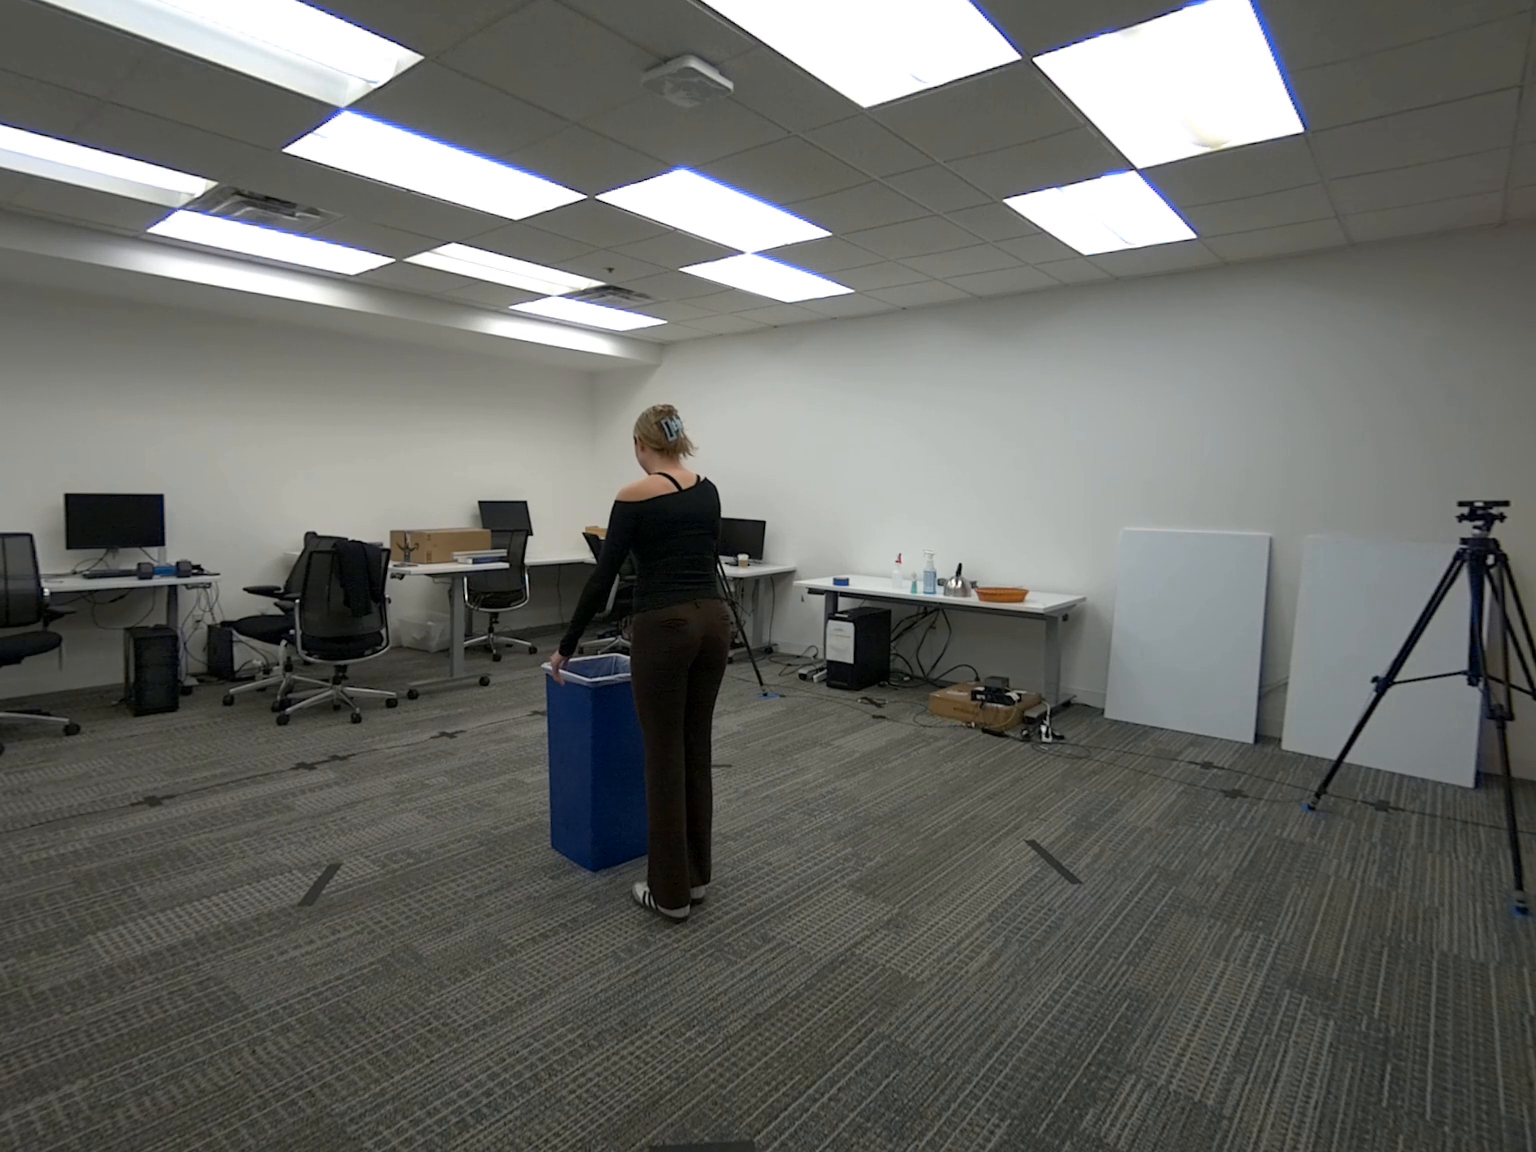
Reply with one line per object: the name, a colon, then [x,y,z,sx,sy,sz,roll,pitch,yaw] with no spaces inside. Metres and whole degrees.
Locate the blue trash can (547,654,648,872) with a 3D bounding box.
blue trash can: [-0.644,0.696,3.256,0.362,0.712,0.391,-1,4,-44]
